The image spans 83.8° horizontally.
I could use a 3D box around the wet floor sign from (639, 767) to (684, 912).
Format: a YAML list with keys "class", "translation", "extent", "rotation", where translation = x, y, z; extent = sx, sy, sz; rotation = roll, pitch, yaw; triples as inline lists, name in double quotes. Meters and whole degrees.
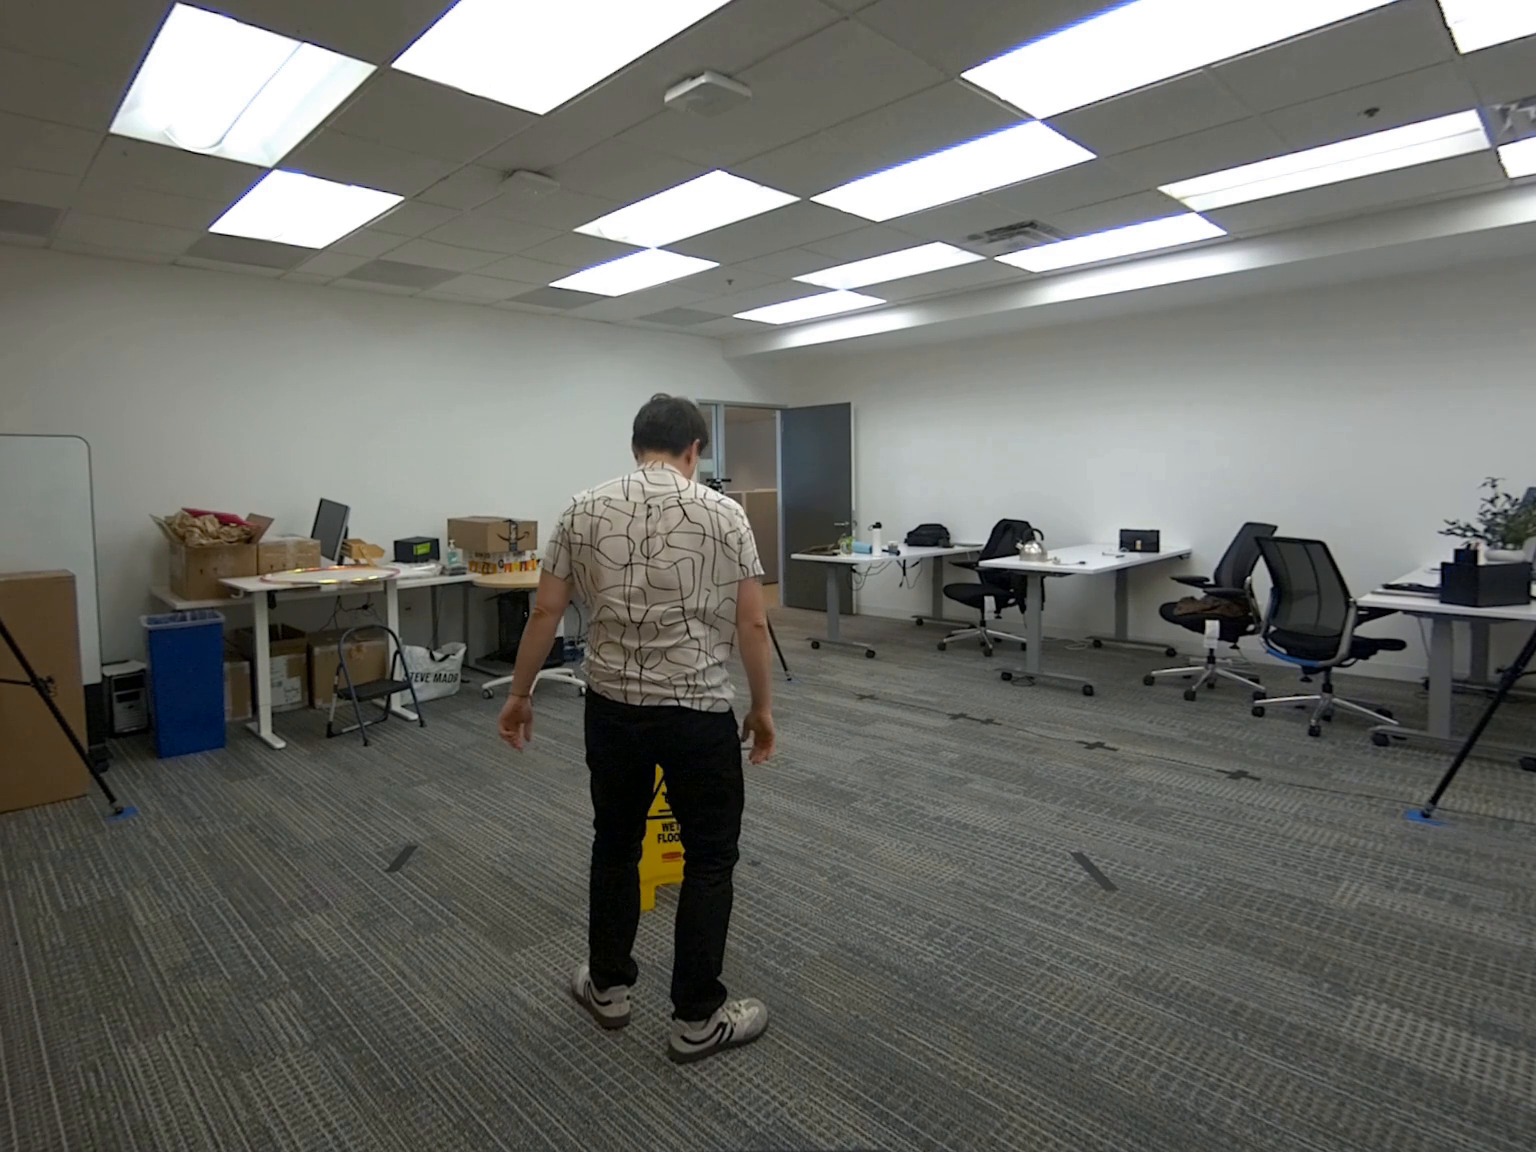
- class: "wet floor sign"
  translation: [-0.343, 0.746, 2.920]
  extent: [0.279, 0.644, 0.294]
  rotation: [-2, 4, -13]
